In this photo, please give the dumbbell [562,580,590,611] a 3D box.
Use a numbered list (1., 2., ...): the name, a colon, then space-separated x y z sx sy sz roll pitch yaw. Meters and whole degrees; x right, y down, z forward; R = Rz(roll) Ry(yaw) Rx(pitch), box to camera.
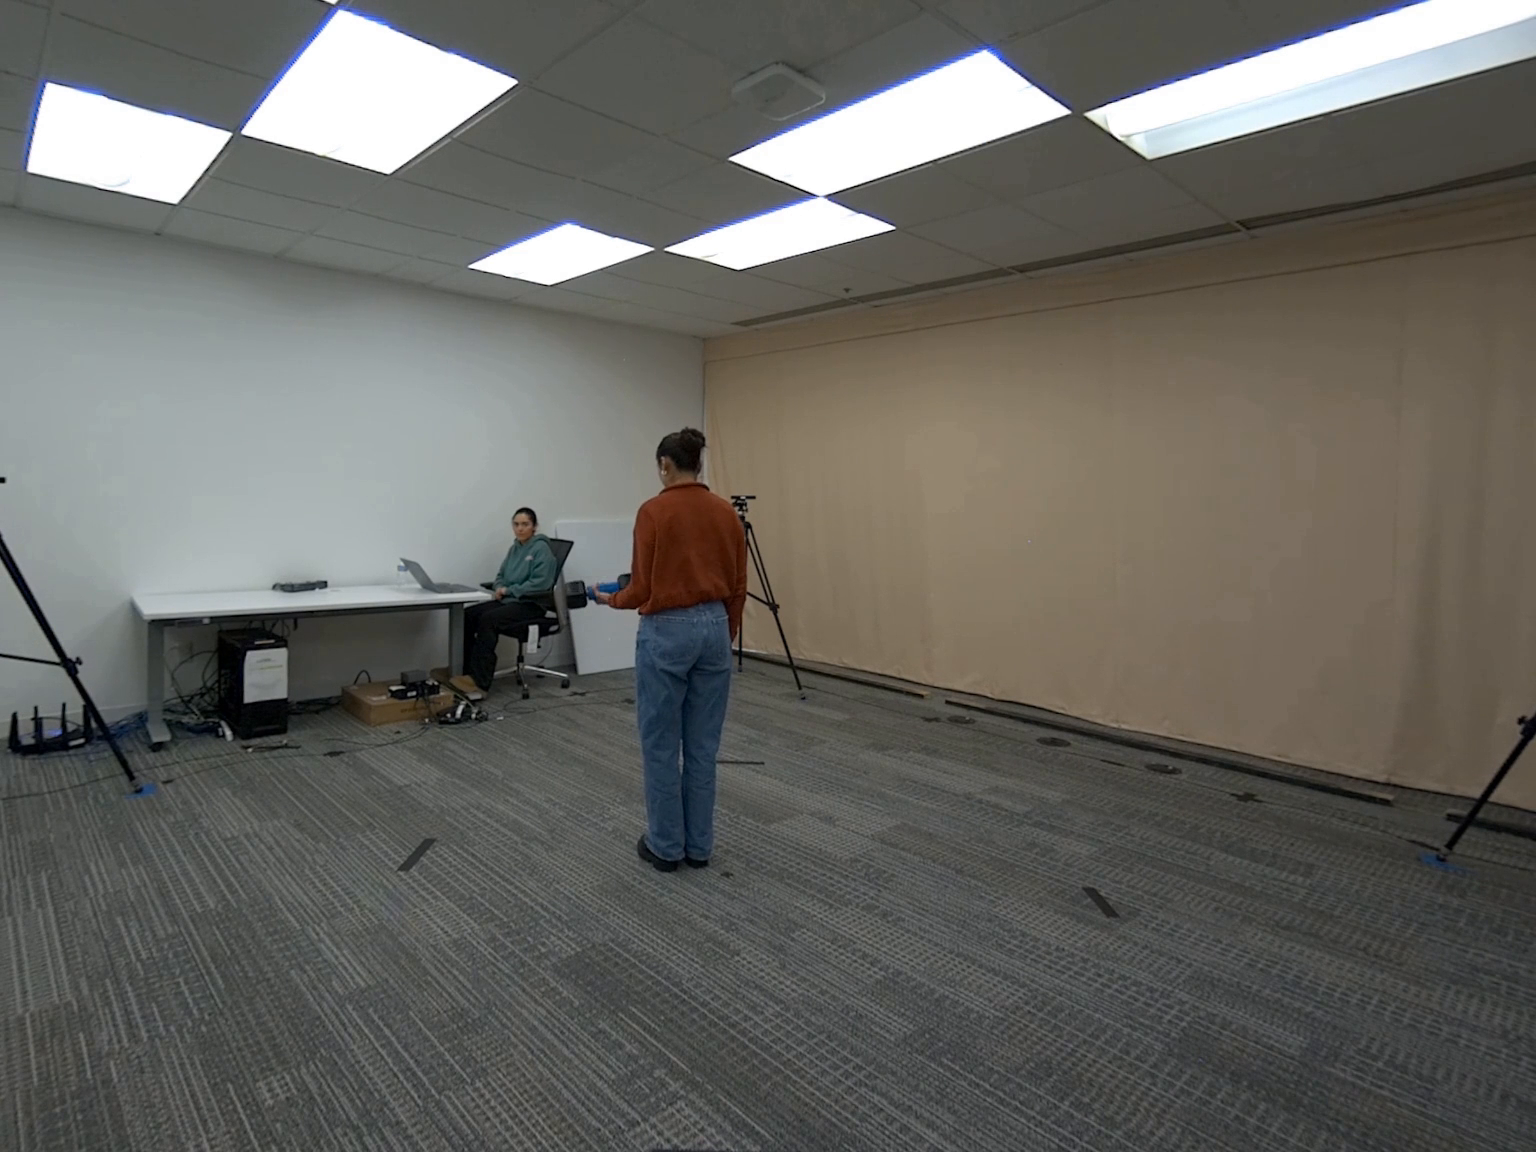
1. dumbbell: -0.650 0.062 3.314 0.291 0.109 0.123 -9 -2 -11
